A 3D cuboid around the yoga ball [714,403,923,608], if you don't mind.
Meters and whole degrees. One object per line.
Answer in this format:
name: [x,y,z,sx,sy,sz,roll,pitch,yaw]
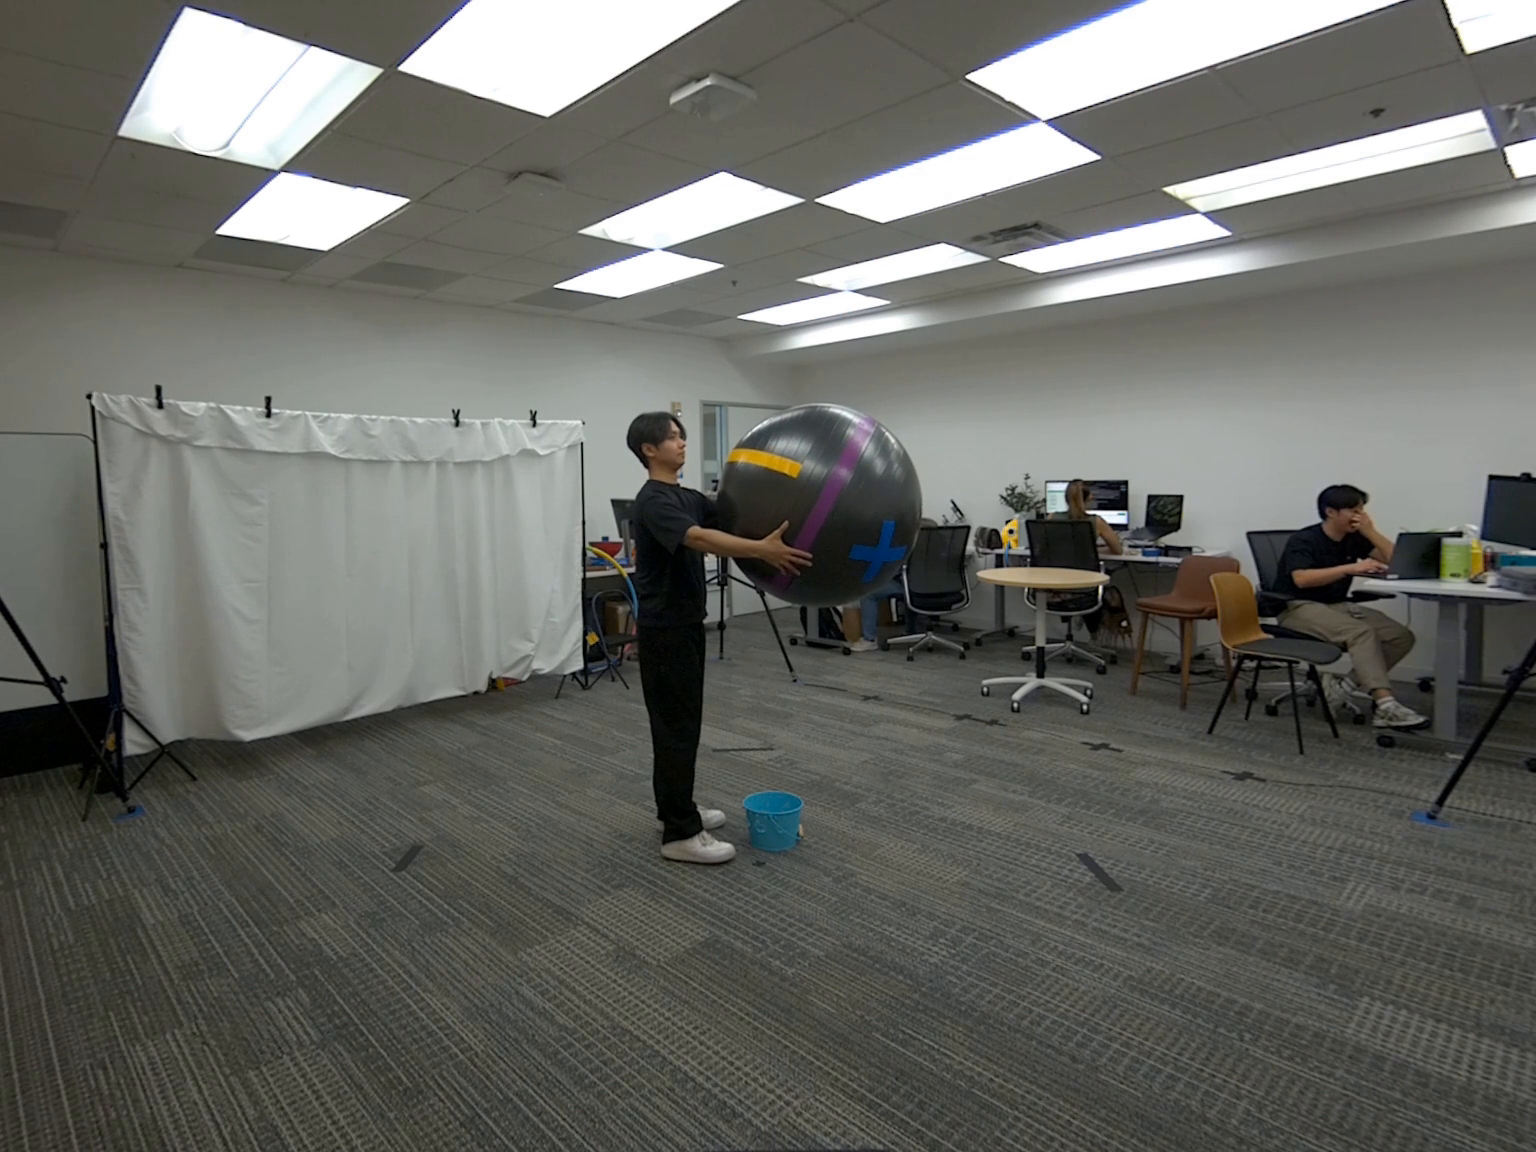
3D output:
yoga ball: [0.192,-0.254,3.190,0.757,0.755,0.762,-1,5,-2]
